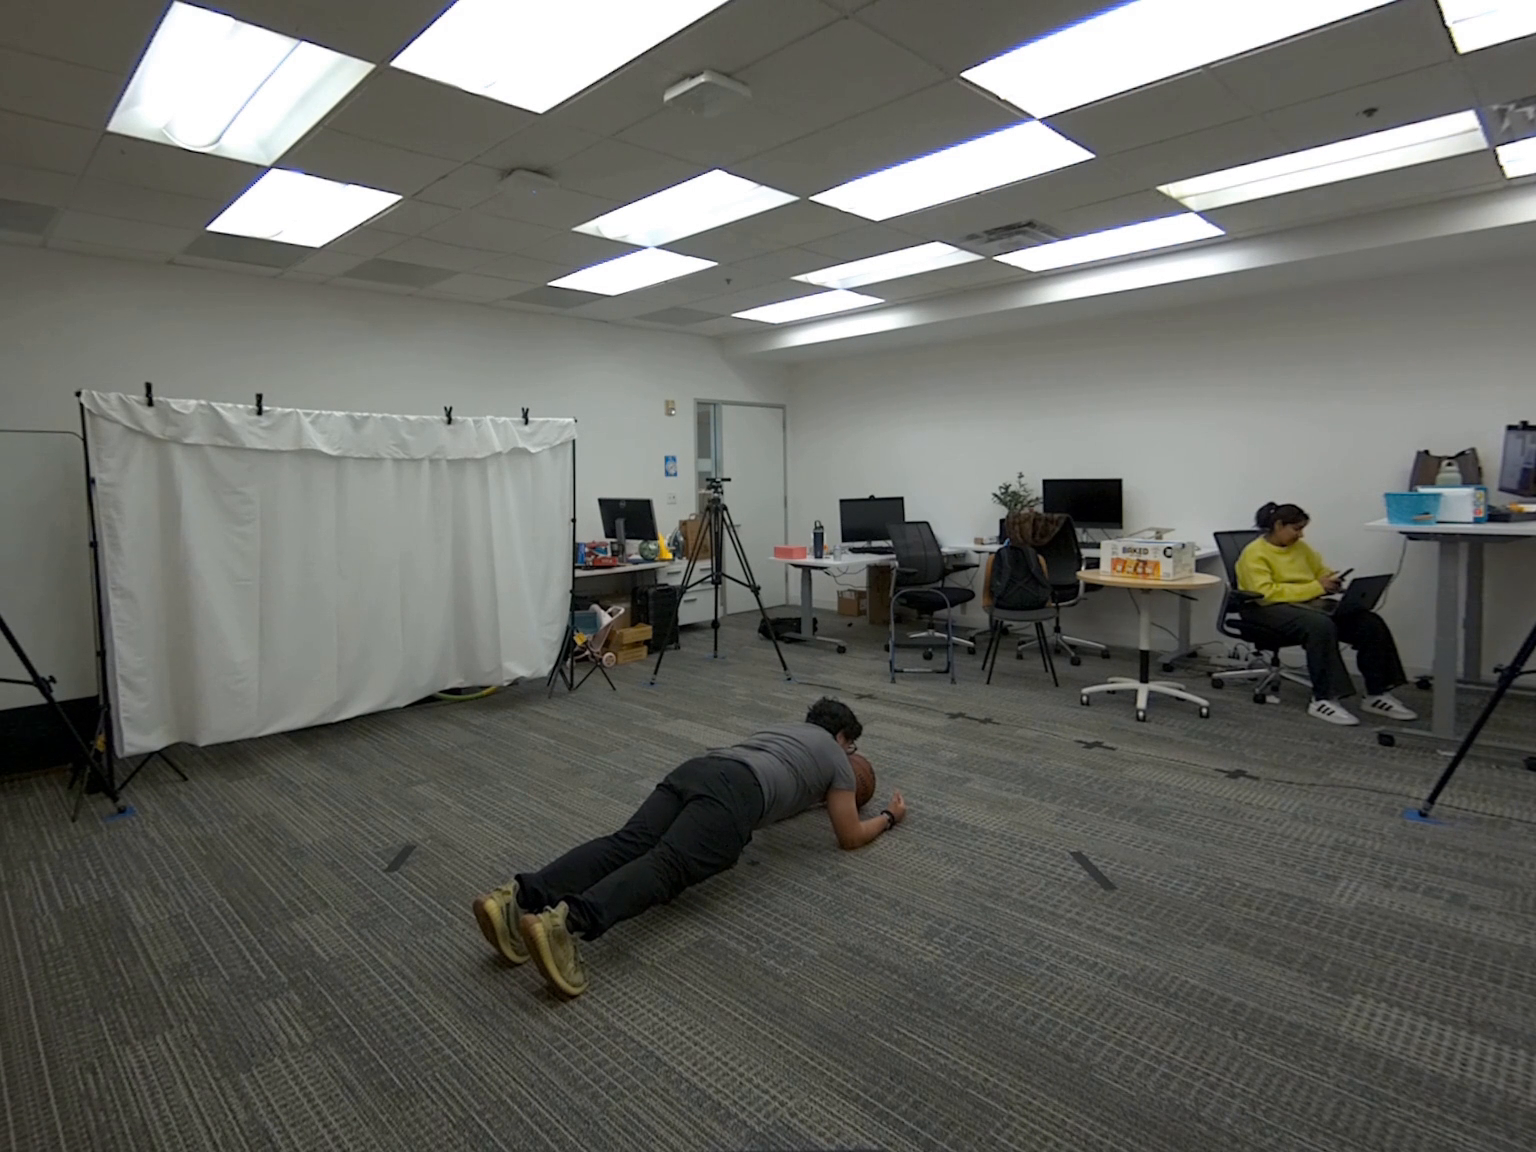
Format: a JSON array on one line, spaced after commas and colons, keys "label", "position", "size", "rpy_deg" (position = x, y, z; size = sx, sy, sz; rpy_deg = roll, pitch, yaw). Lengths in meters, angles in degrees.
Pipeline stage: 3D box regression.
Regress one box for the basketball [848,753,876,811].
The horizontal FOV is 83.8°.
[{"label": "basketball", "position": [0.336, 0.861, 3.593], "size": [0.236, 0.235, 0.237], "rpy_deg": [-1, 5, -2]}]
